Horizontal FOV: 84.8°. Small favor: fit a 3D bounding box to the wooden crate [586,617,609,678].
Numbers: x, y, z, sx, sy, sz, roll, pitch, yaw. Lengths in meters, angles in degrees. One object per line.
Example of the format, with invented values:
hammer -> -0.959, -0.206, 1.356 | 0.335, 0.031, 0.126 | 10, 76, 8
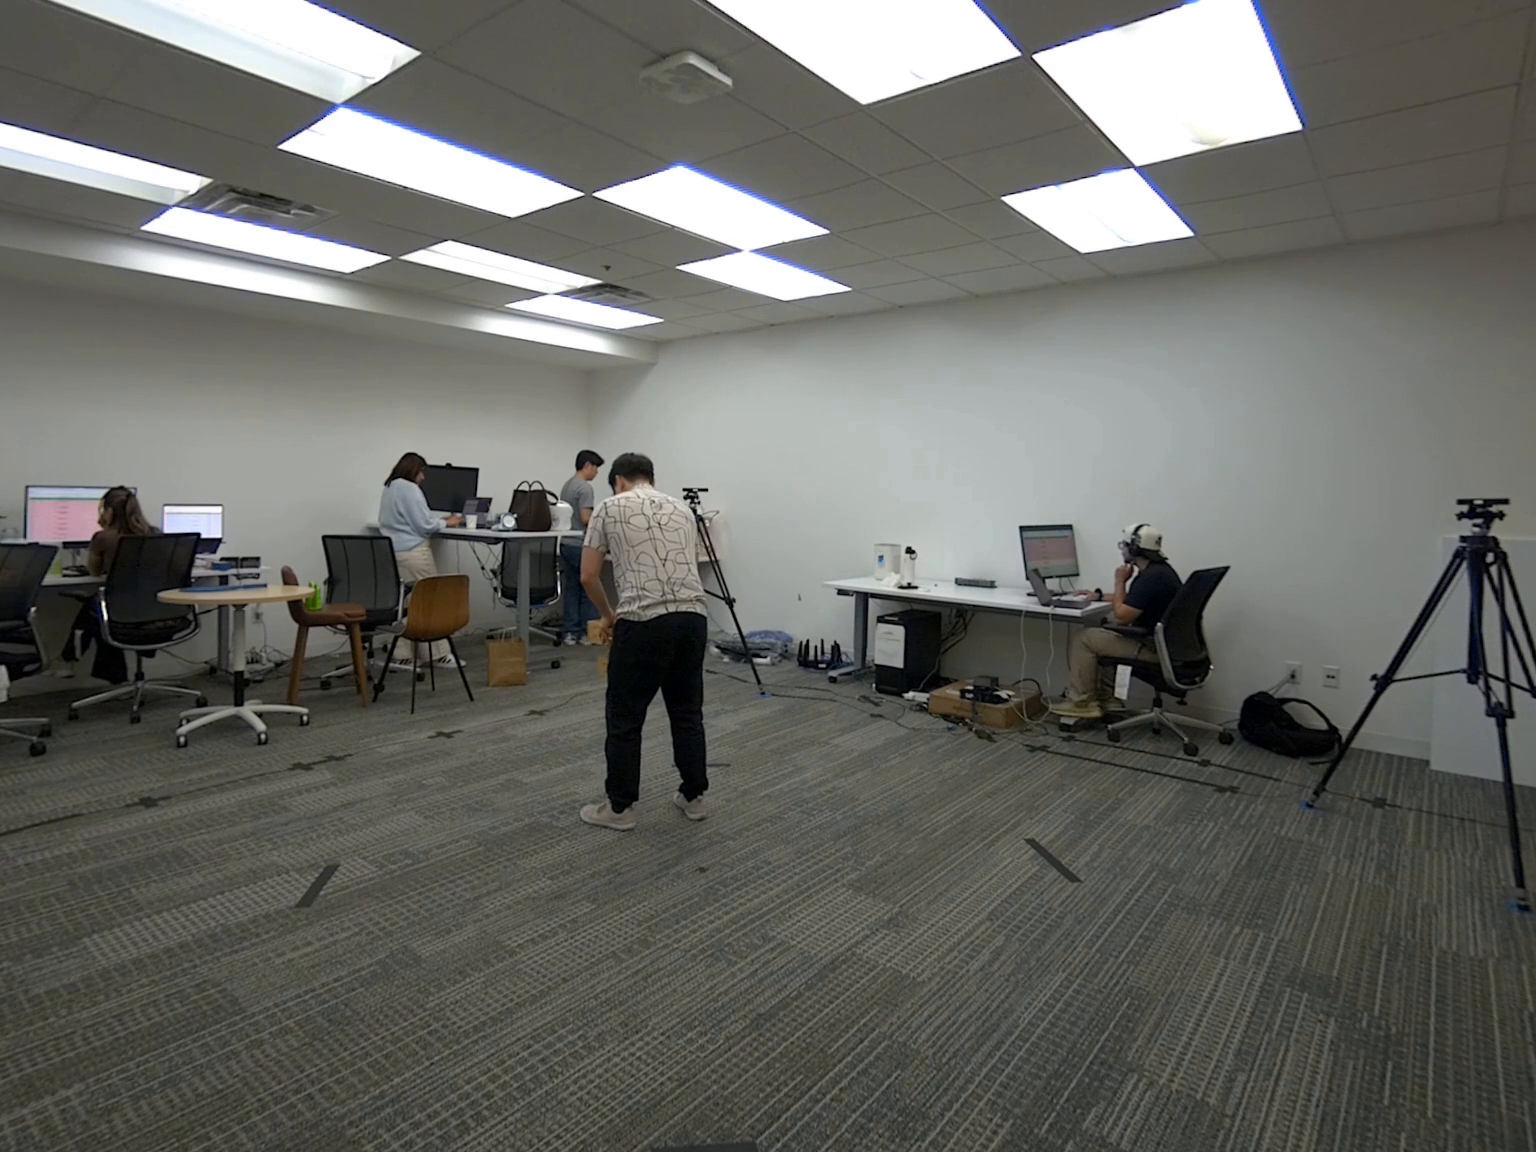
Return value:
wooden crate -> -0.613, 0.327, 3.843 | 0.293, 0.273, 0.335 | -2, 2, -43
